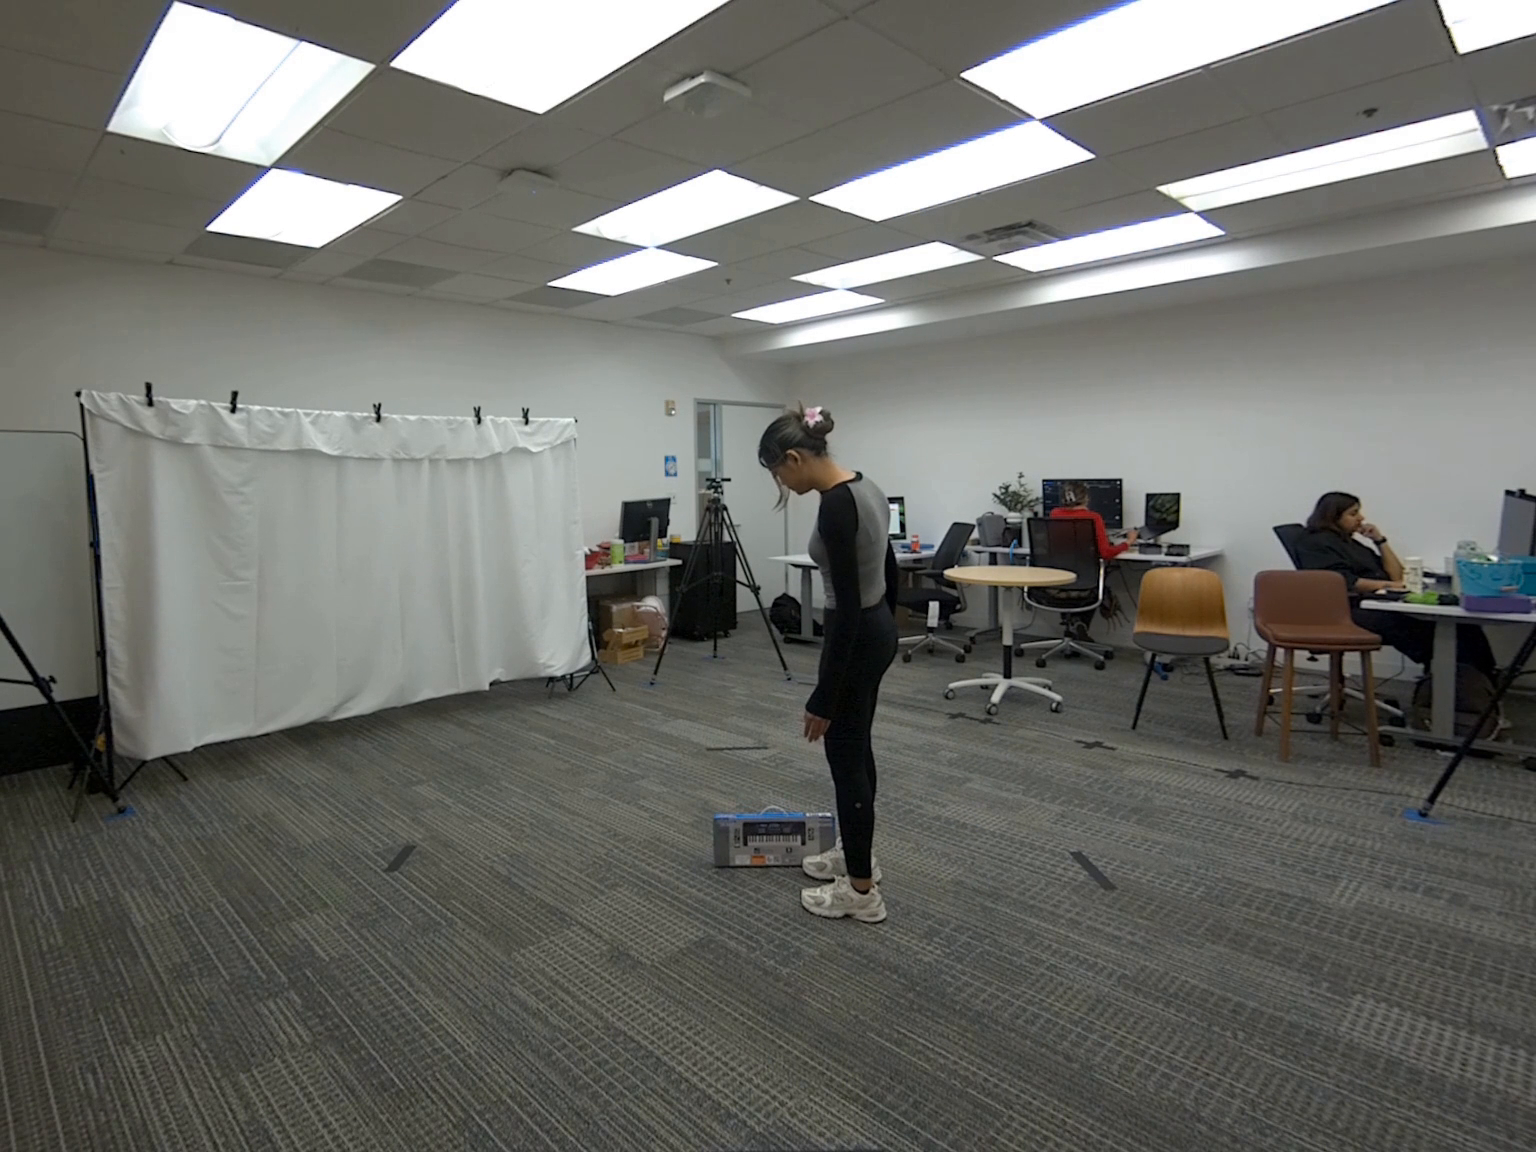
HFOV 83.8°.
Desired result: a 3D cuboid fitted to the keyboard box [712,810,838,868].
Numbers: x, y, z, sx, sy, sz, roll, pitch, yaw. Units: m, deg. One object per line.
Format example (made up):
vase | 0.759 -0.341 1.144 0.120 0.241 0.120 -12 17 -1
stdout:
keyboard box | 0.025 0.950 3.093 0.437 0.176 0.059 -1 -2 1
